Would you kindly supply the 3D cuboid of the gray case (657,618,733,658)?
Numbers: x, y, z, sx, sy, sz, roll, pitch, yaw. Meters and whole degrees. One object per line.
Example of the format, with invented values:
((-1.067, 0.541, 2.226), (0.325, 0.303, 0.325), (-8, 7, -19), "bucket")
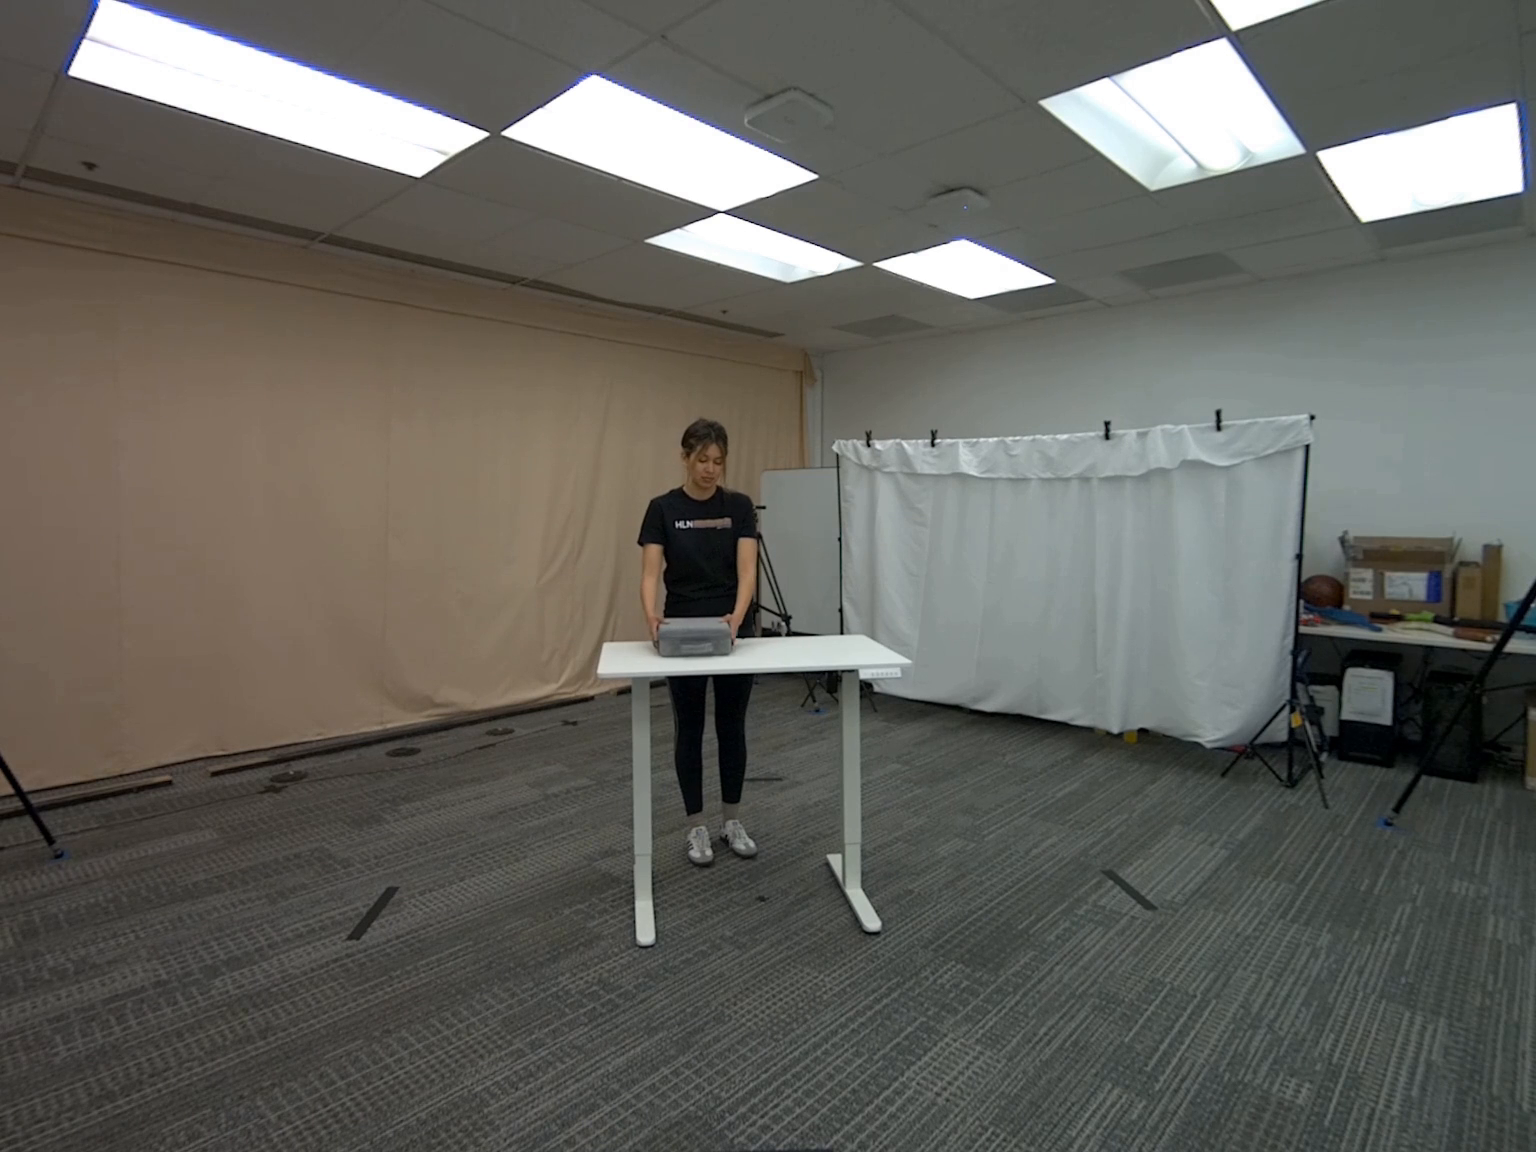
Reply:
((-0.255, 0.216, 2.971), (0.256, 0.104, 0.263), (0, 5, -5), "gray case")
